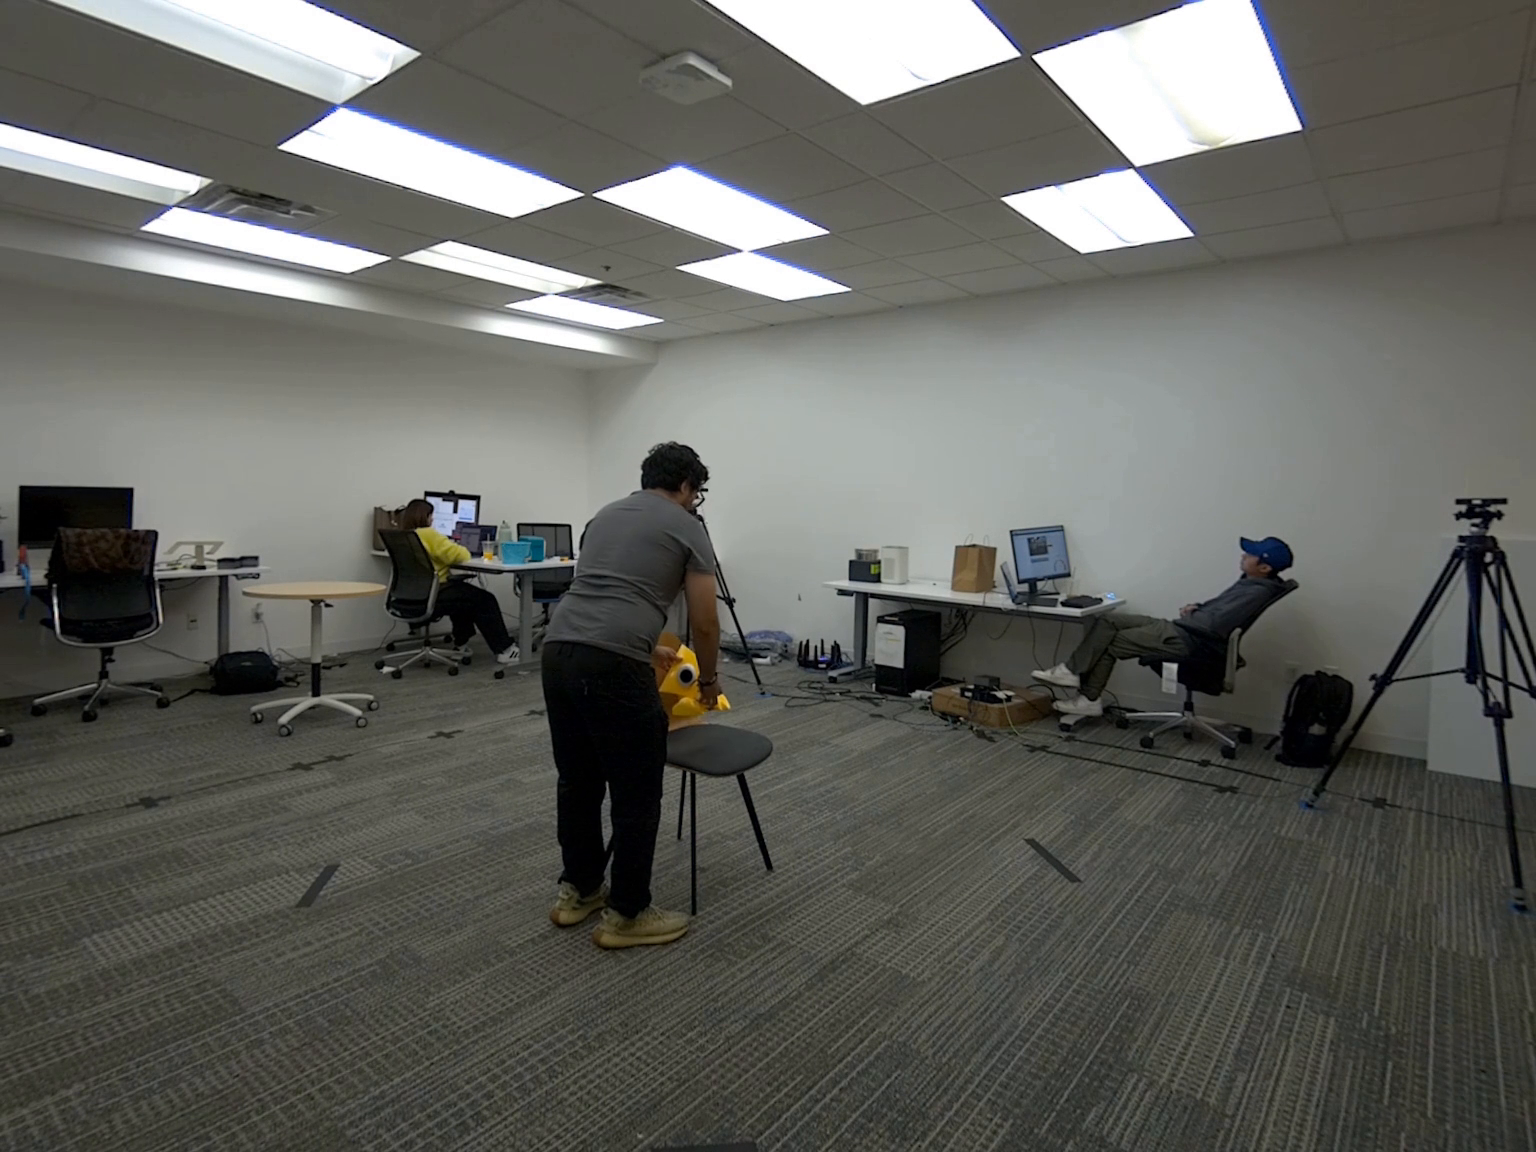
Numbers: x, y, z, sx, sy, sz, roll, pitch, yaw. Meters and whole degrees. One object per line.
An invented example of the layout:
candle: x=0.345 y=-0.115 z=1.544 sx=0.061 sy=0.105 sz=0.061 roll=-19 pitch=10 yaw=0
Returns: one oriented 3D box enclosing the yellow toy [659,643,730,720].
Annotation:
yellow toy: x=-0.264 y=0.356 z=3.006 sx=0.198 sy=0.231 sz=0.198 roll=-5 pitch=-3 yaw=39
